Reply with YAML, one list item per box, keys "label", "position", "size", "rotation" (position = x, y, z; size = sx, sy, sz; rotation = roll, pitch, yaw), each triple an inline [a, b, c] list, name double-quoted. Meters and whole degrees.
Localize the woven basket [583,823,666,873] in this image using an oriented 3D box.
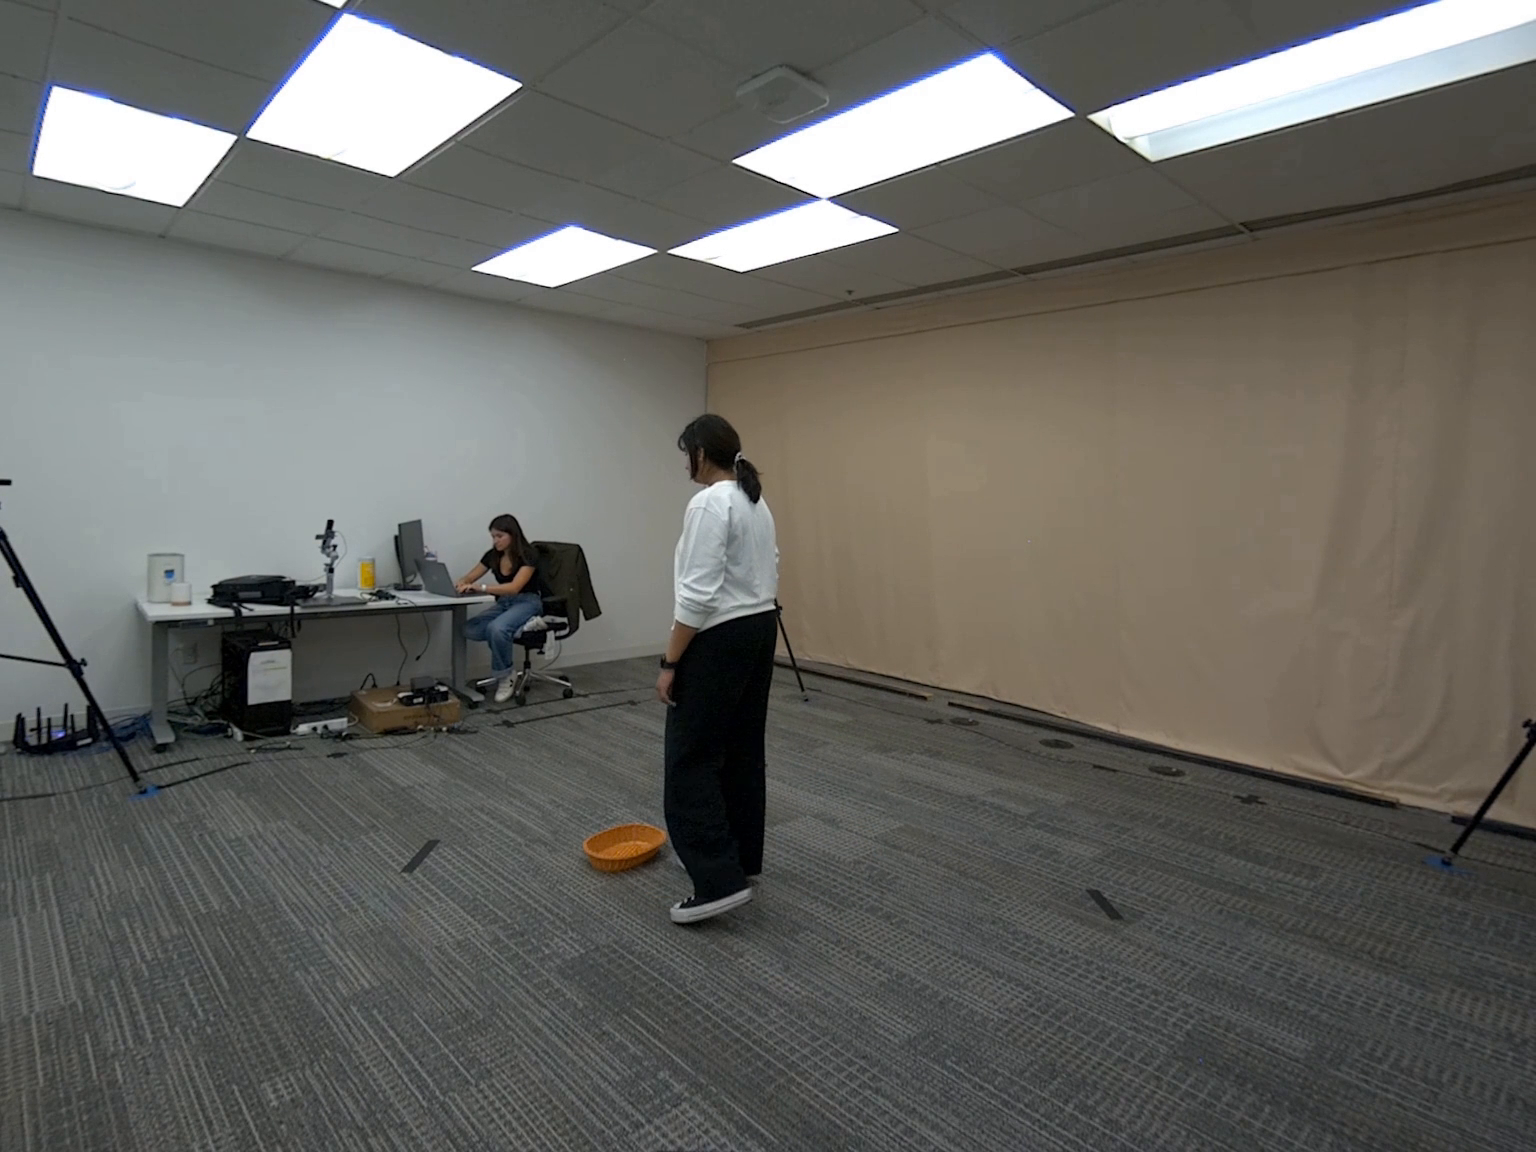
- label: "woven basket"
  position: [-0.552, 1.044, 3.239]
  size: [0.258, 0.073, 0.343]
  rotation: [6, 6, 35]
